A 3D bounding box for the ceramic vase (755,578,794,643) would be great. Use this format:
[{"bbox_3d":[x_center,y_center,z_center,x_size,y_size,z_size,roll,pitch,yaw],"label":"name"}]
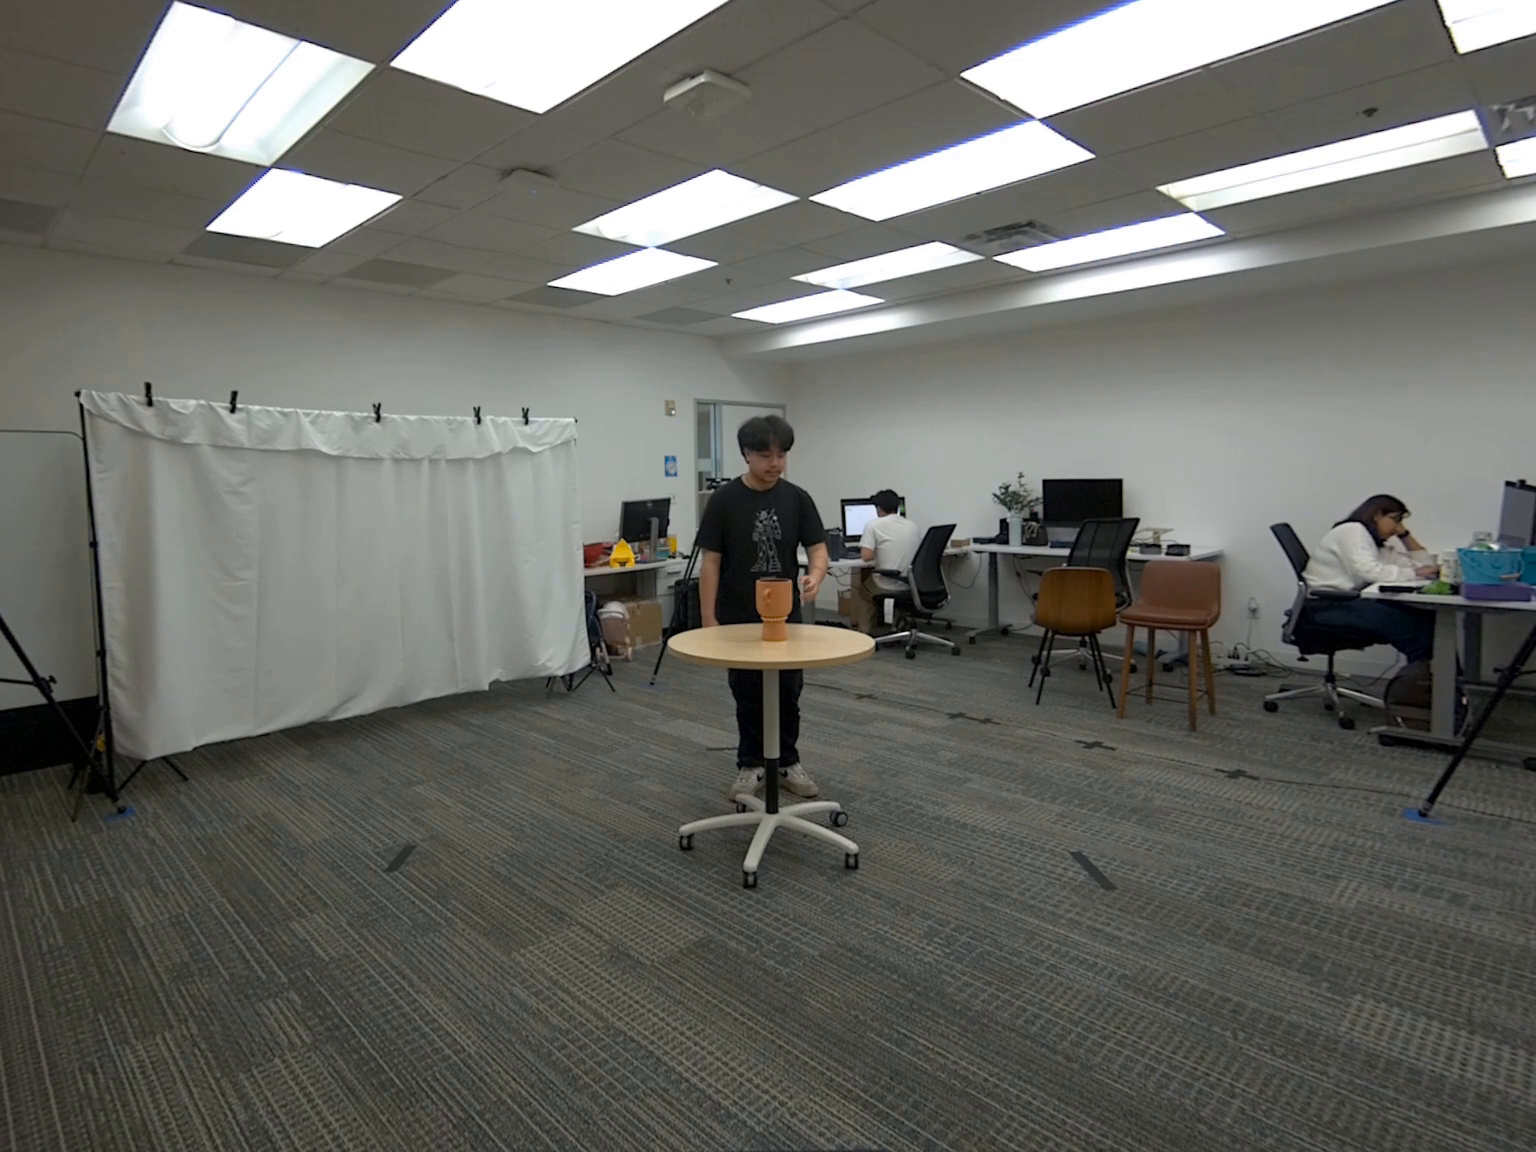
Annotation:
[{"bbox_3d":[0.024,0.131,3.195,0.155,0.219,0.138,-4,5,-29],"label":"ceramic vase"}]
